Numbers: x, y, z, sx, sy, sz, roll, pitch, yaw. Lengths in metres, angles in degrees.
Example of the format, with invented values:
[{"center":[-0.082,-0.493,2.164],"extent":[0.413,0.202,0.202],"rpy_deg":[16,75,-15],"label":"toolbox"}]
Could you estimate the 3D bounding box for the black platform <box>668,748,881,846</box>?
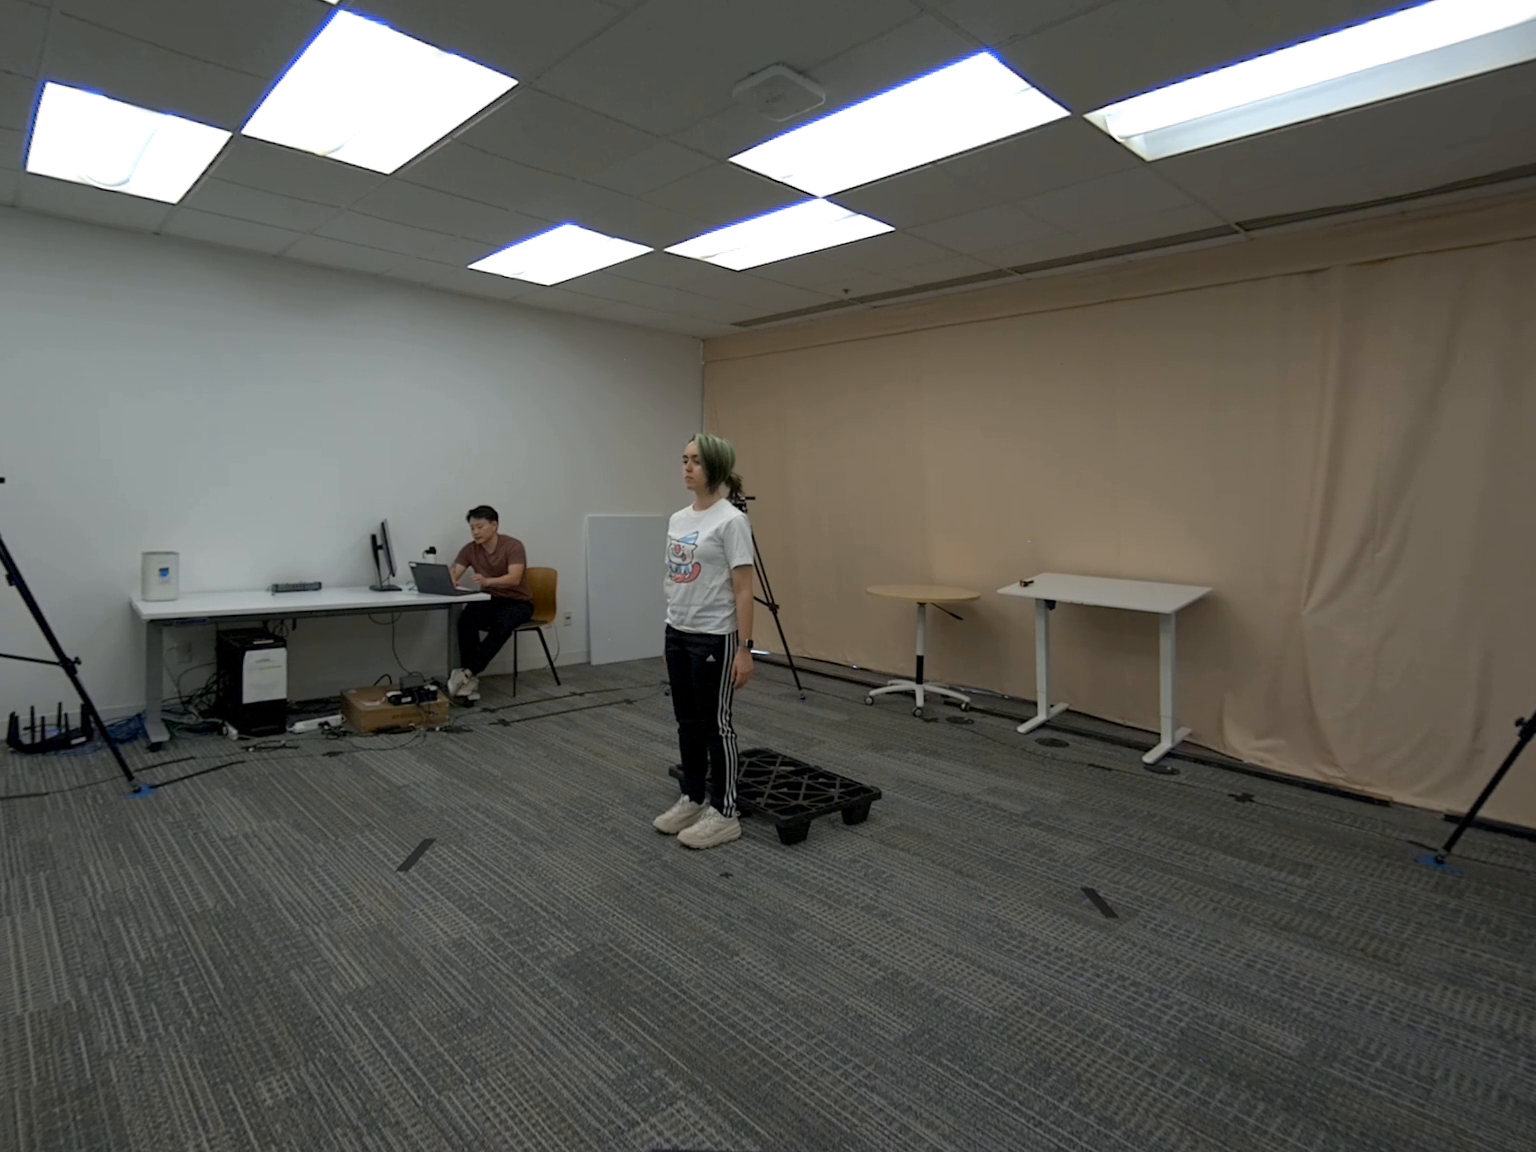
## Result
[{"center":[0.005,0.981,3.802],"extent":[0.591,0.143,0.826],"rpy_deg":[-3,7,-40],"label":"black platform"}]
